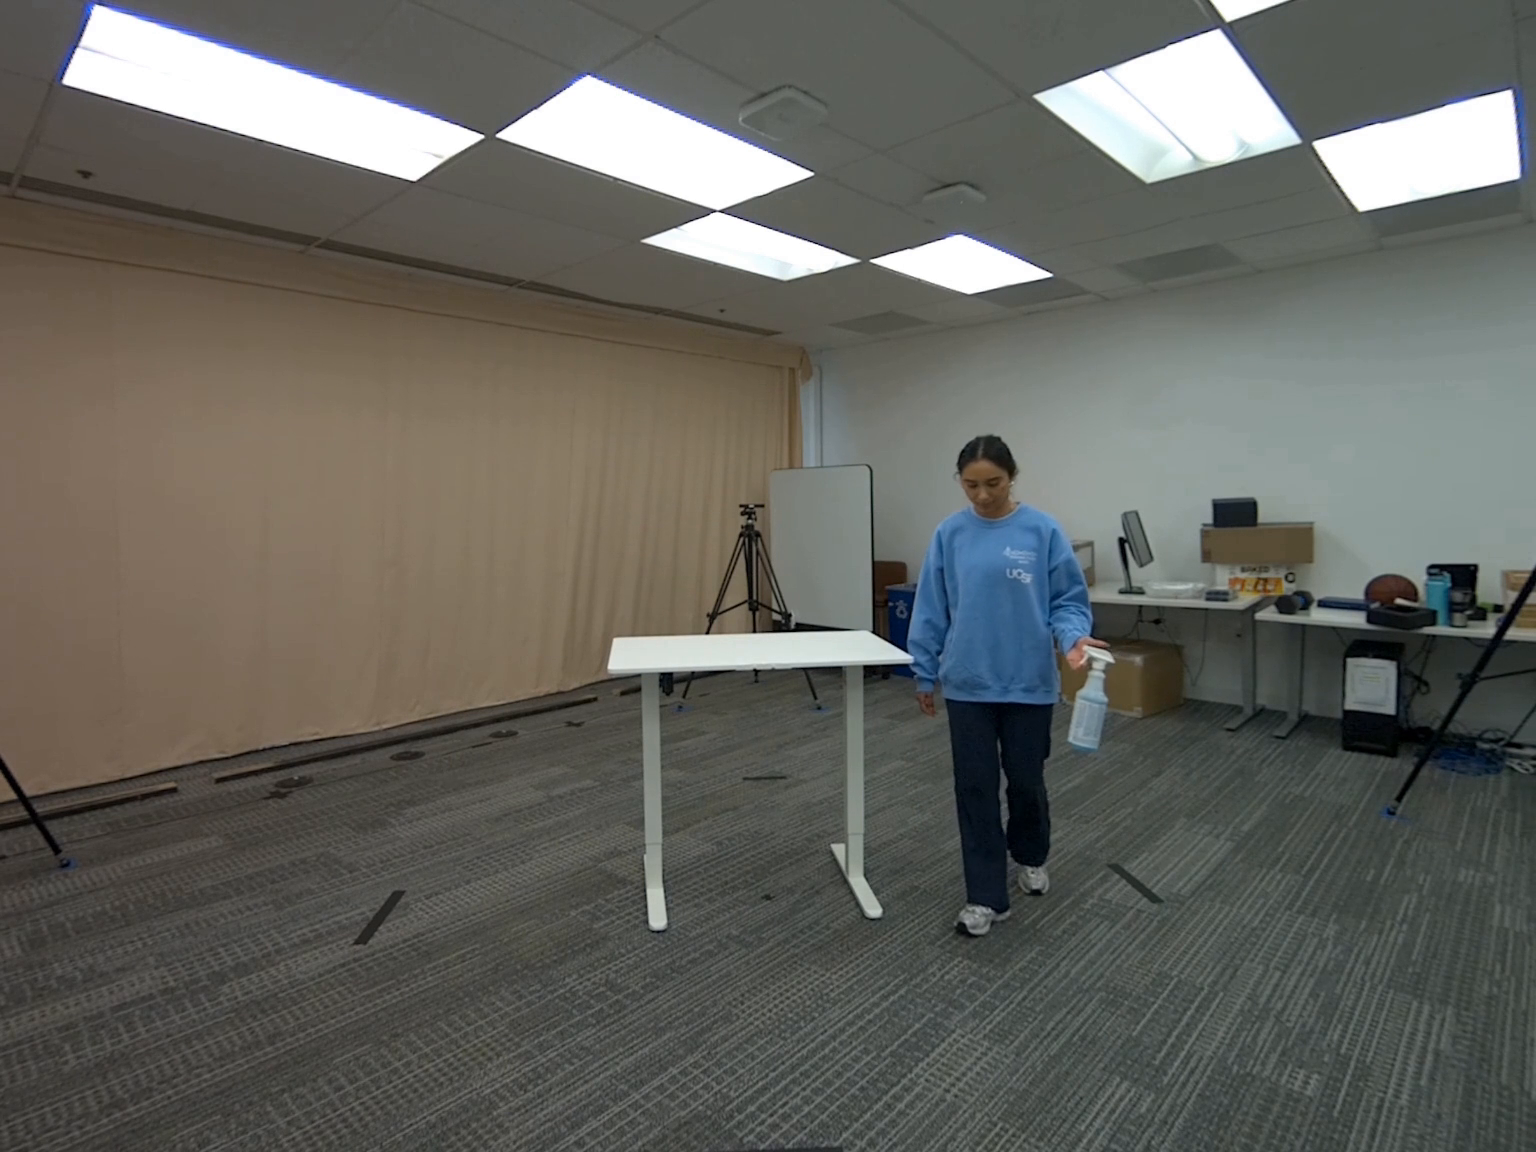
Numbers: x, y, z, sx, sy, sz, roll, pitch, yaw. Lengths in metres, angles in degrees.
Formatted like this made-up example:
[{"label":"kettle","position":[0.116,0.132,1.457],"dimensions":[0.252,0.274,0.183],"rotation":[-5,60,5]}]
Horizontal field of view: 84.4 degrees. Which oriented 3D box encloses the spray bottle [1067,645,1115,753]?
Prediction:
[{"label":"spray bottle","position":[0.935,0.359,2.457],"dimensions":[0.093,0.297,0.084],"rotation":[11,4,31]}]
